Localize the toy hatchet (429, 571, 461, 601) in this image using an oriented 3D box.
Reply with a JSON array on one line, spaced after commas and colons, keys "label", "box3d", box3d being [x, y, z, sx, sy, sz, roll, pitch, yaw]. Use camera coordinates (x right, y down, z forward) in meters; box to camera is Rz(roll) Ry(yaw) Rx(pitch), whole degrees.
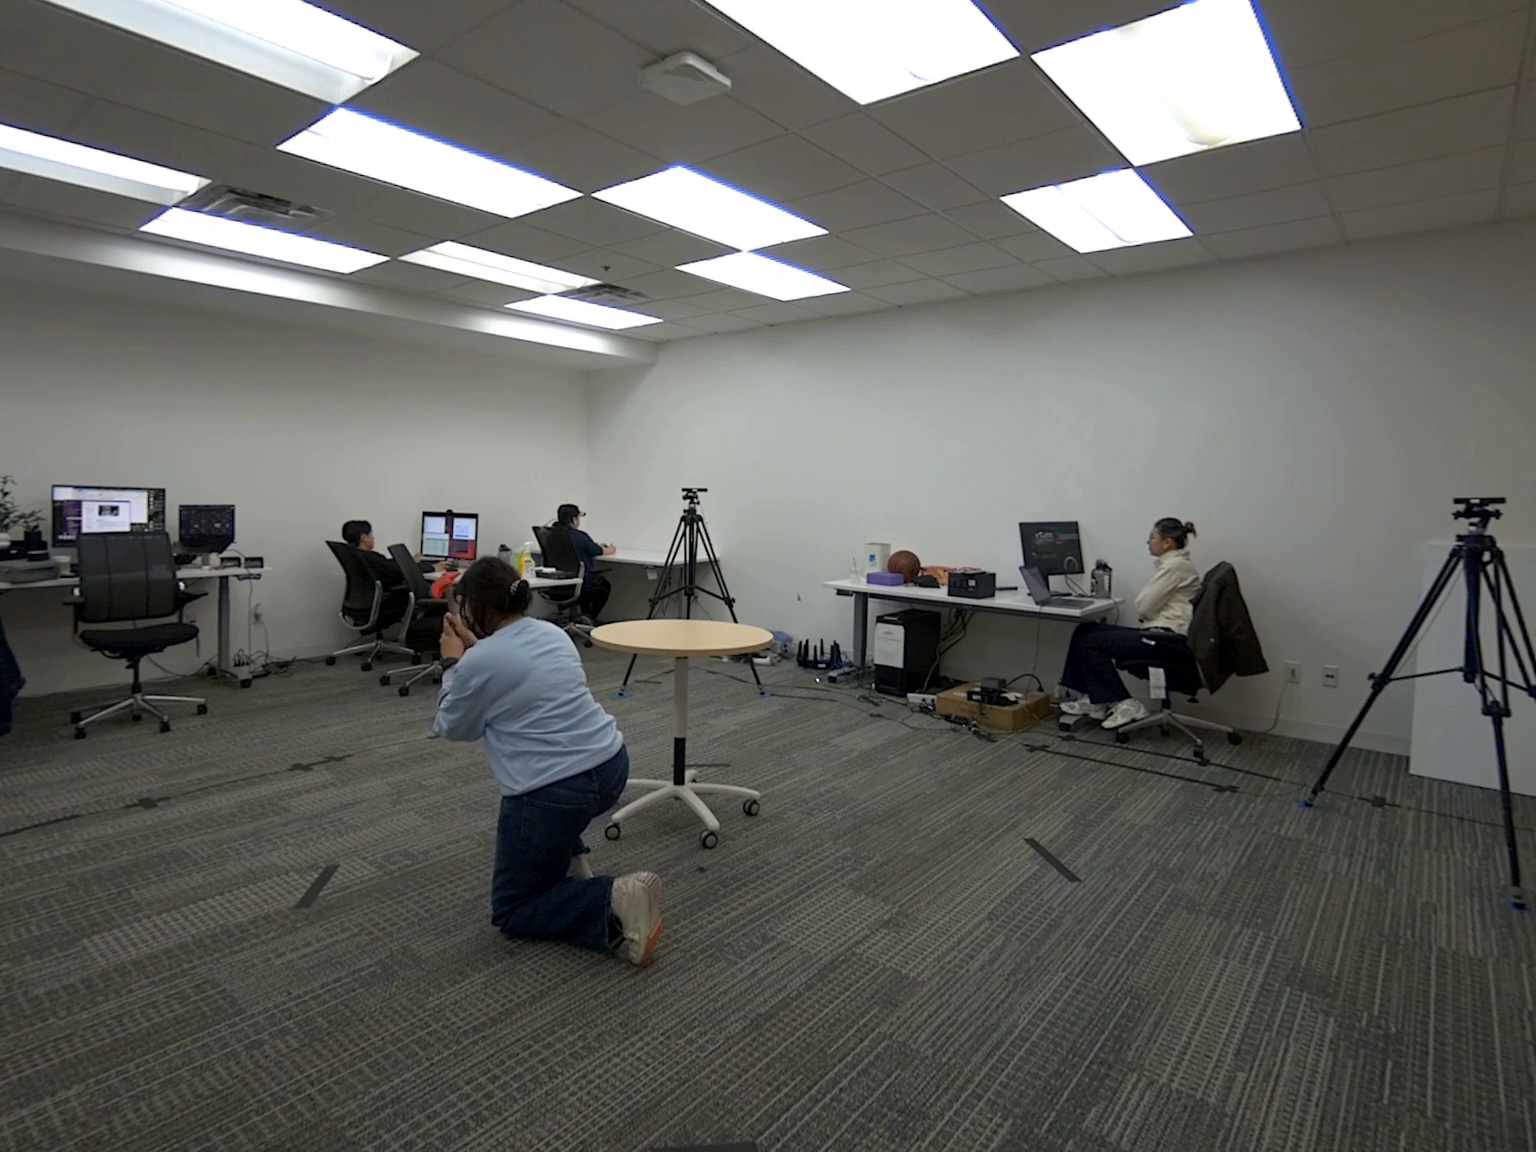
[{"label": "toy hatchet", "box3d": [-1.144, 0.129, 3.001, 0.133, 0.275, 0.028, -13, -20, 18]}]
